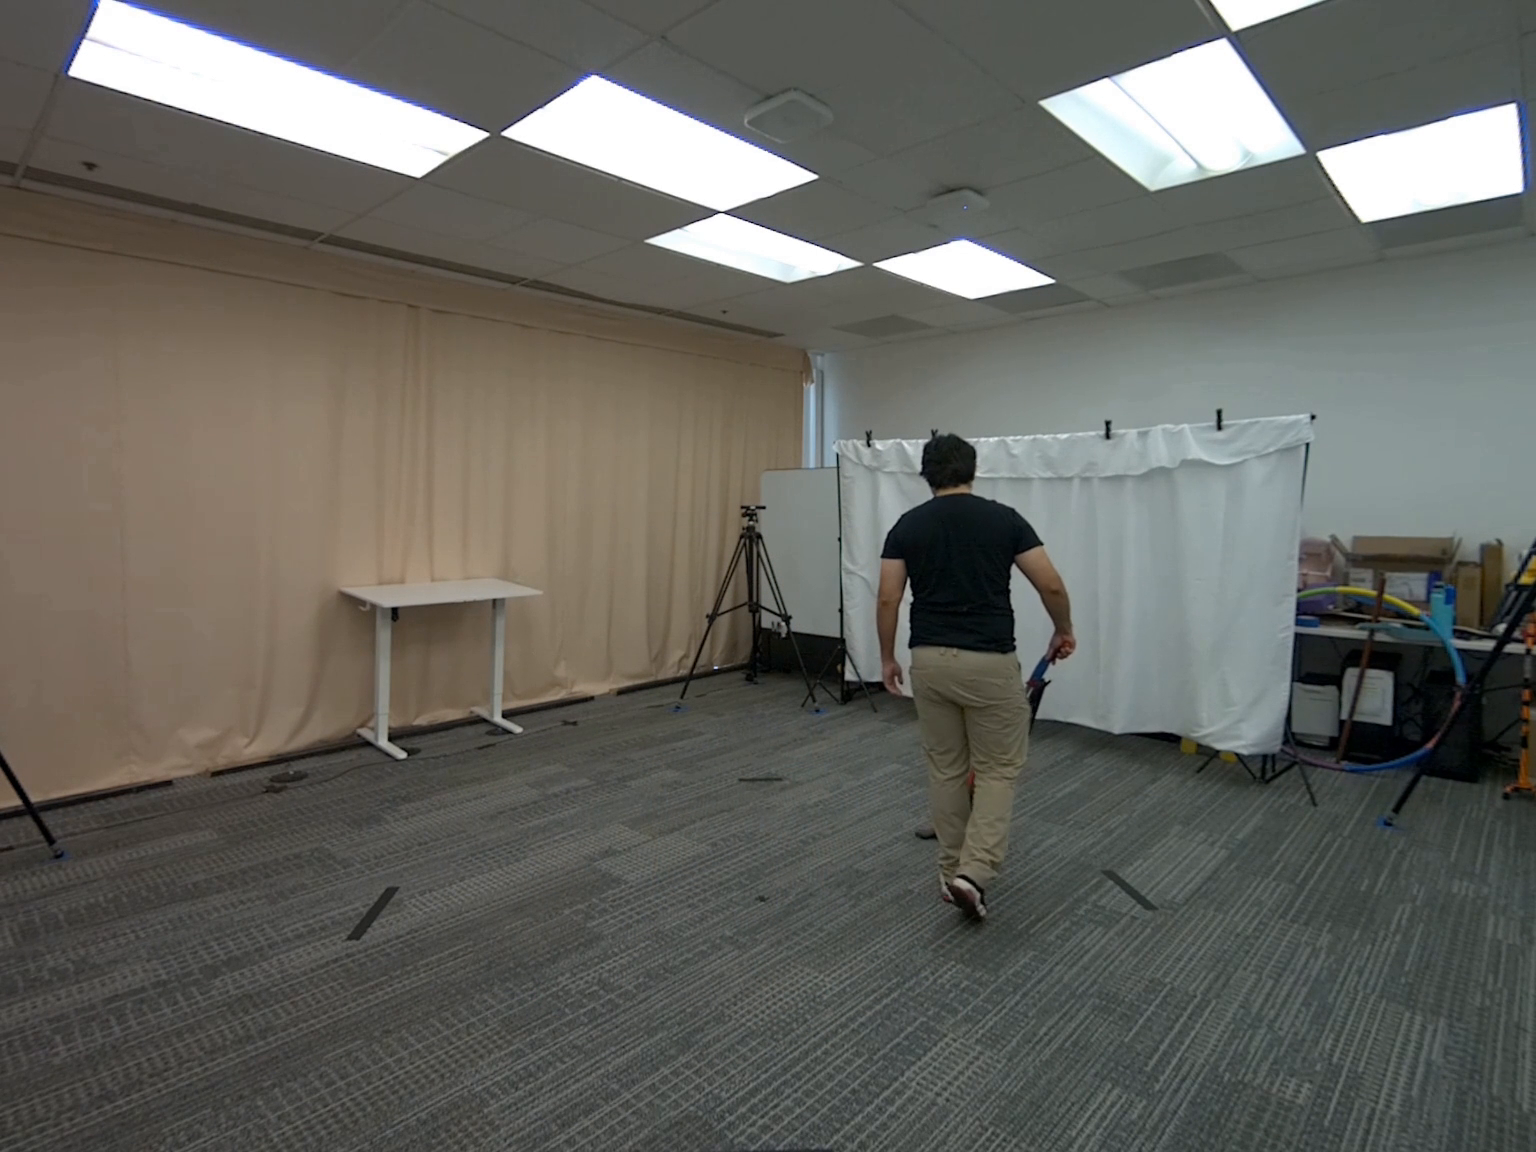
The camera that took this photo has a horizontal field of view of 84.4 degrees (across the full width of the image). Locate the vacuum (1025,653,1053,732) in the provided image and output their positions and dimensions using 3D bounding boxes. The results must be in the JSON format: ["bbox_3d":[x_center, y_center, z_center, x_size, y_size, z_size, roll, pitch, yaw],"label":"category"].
[{"bbox_3d":[0.919,0.679,3.281,0.245,1.044,0.149,0,39,-31],"label":"vacuum"}]
